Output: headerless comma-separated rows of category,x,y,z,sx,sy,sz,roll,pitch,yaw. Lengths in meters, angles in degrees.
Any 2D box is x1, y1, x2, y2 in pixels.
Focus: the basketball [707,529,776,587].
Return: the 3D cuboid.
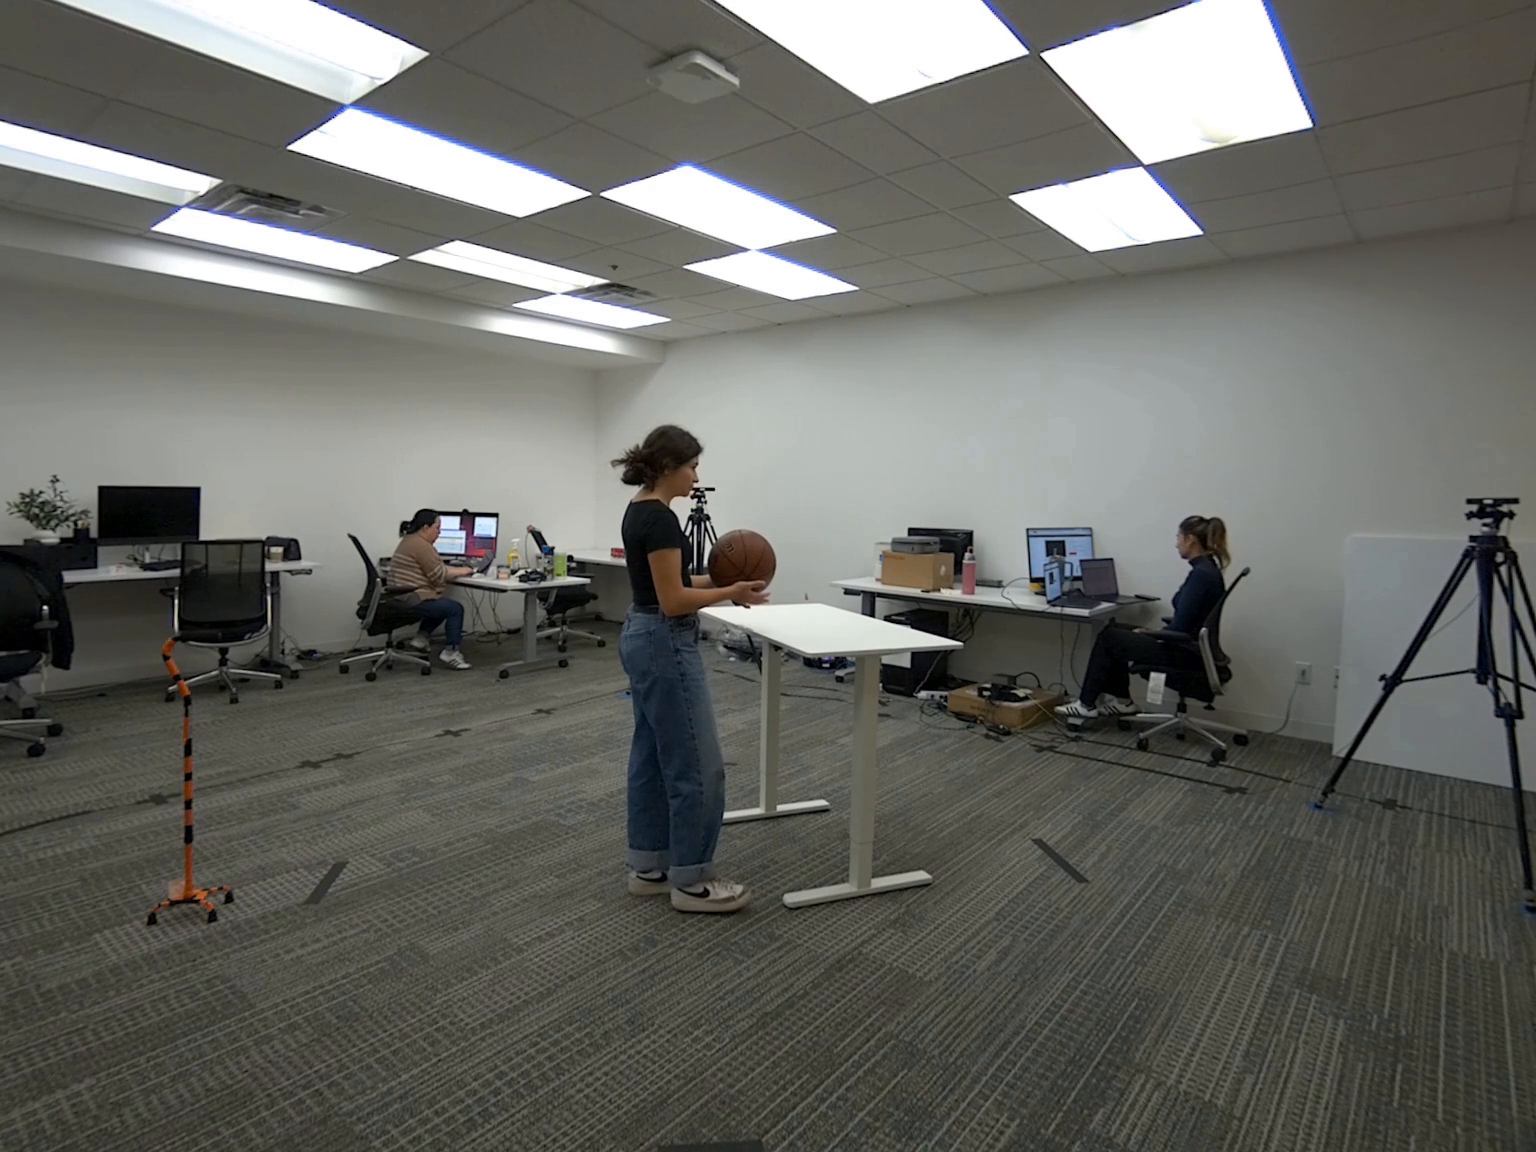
basketball,-0.104,-0.043,2.935,0.235,0.235,0.237,1,4,-2
